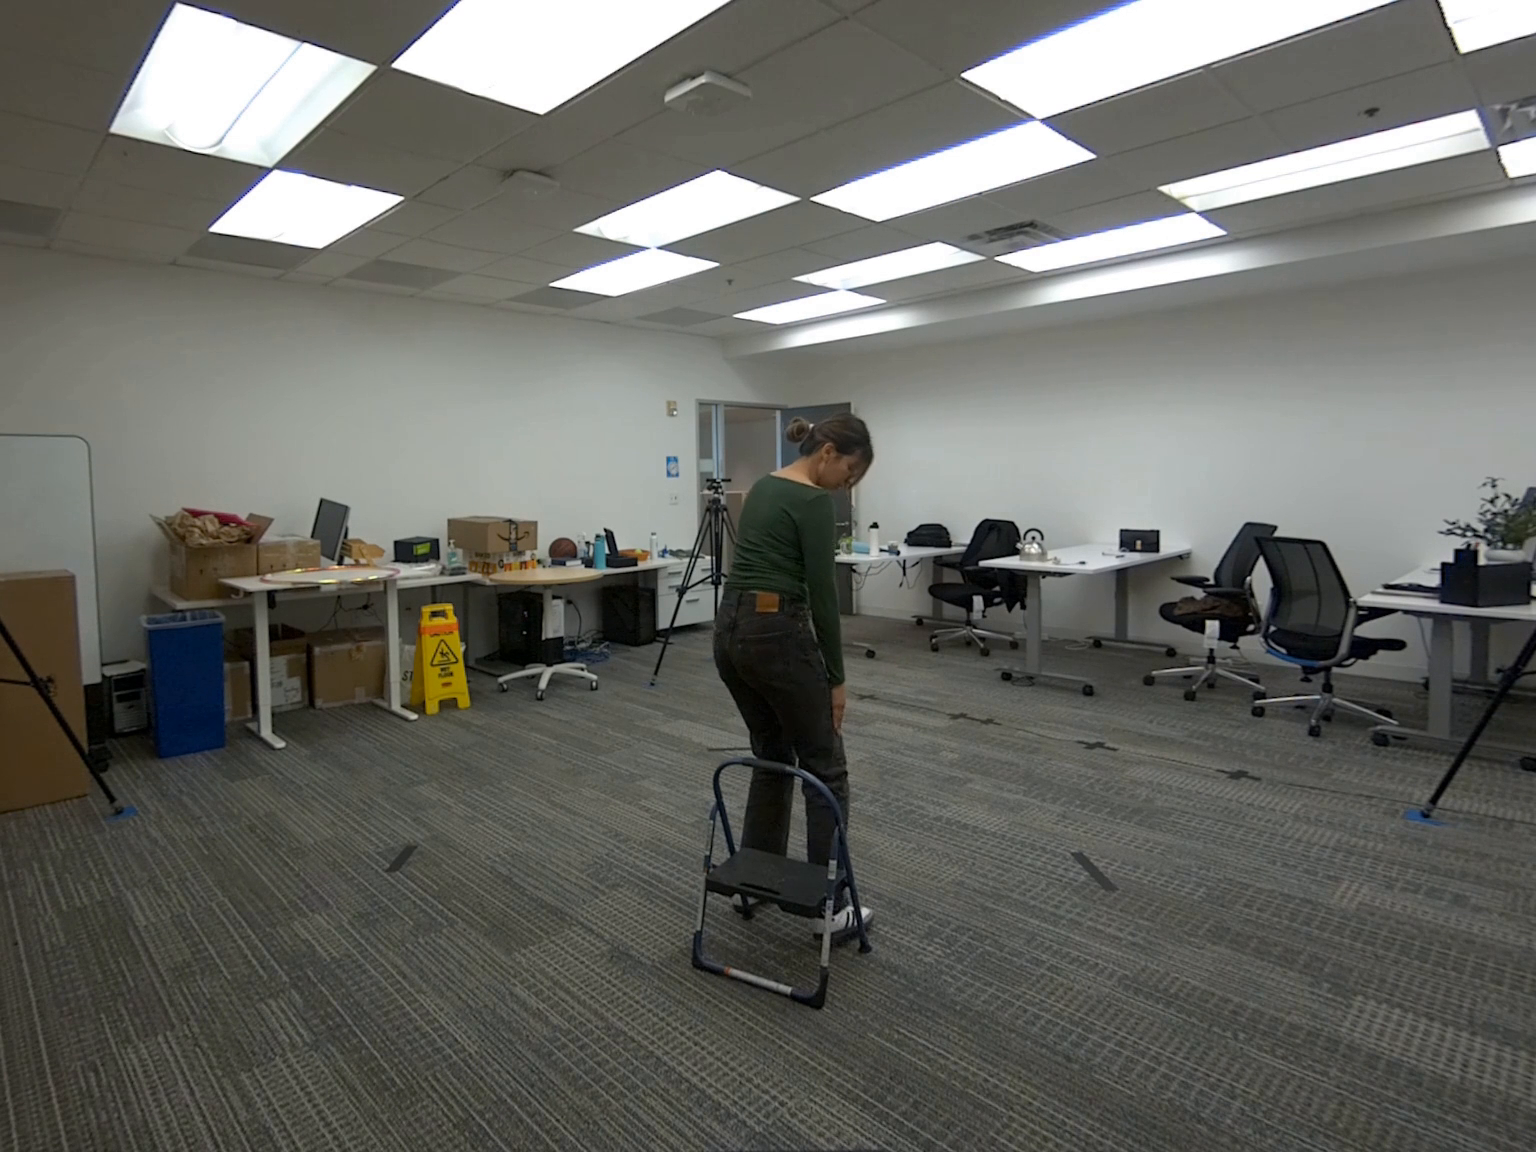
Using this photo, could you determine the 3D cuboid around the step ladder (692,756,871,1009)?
[{"bbox_3d":[0.037,0.817,2.473,0.442,0.604,0.341,1,4,30],"label":"step ladder"}]
